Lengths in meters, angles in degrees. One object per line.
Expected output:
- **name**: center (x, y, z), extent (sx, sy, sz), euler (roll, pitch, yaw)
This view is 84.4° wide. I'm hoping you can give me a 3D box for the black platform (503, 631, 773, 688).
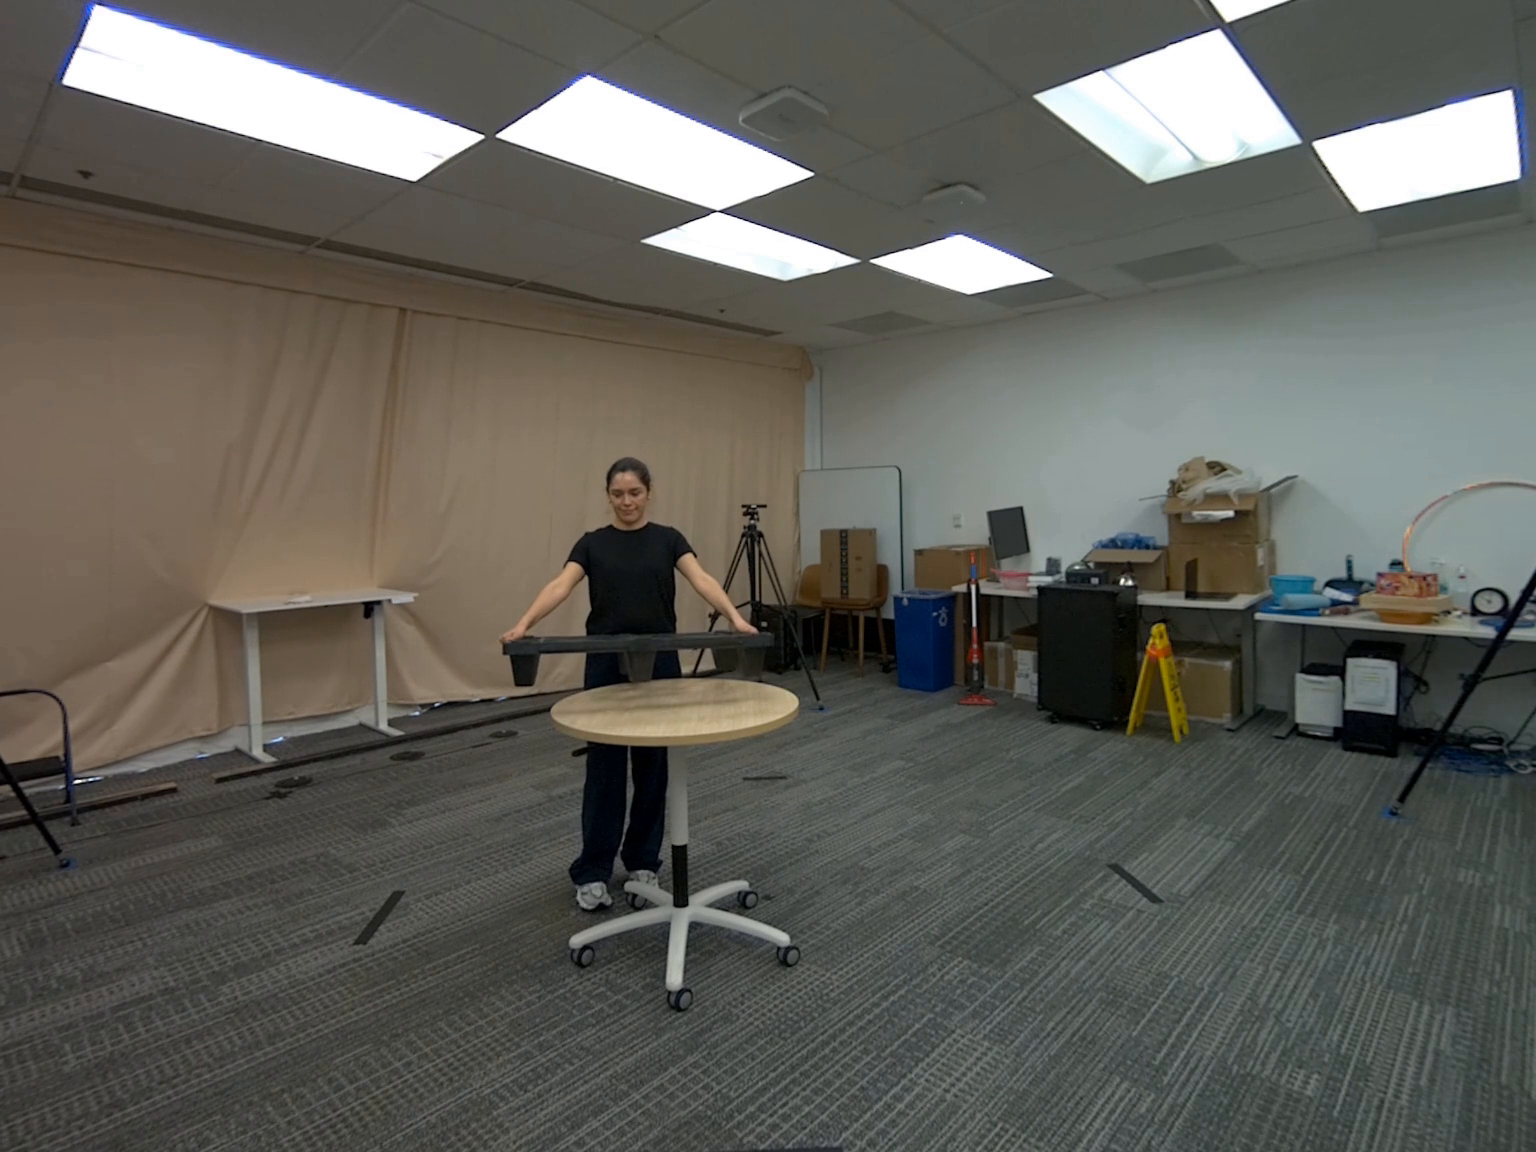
- **black platform**: center (-0.428, 0.262, 2.740), extent (0.796, 0.144, 0.610), euler (-1, -3, -11)
